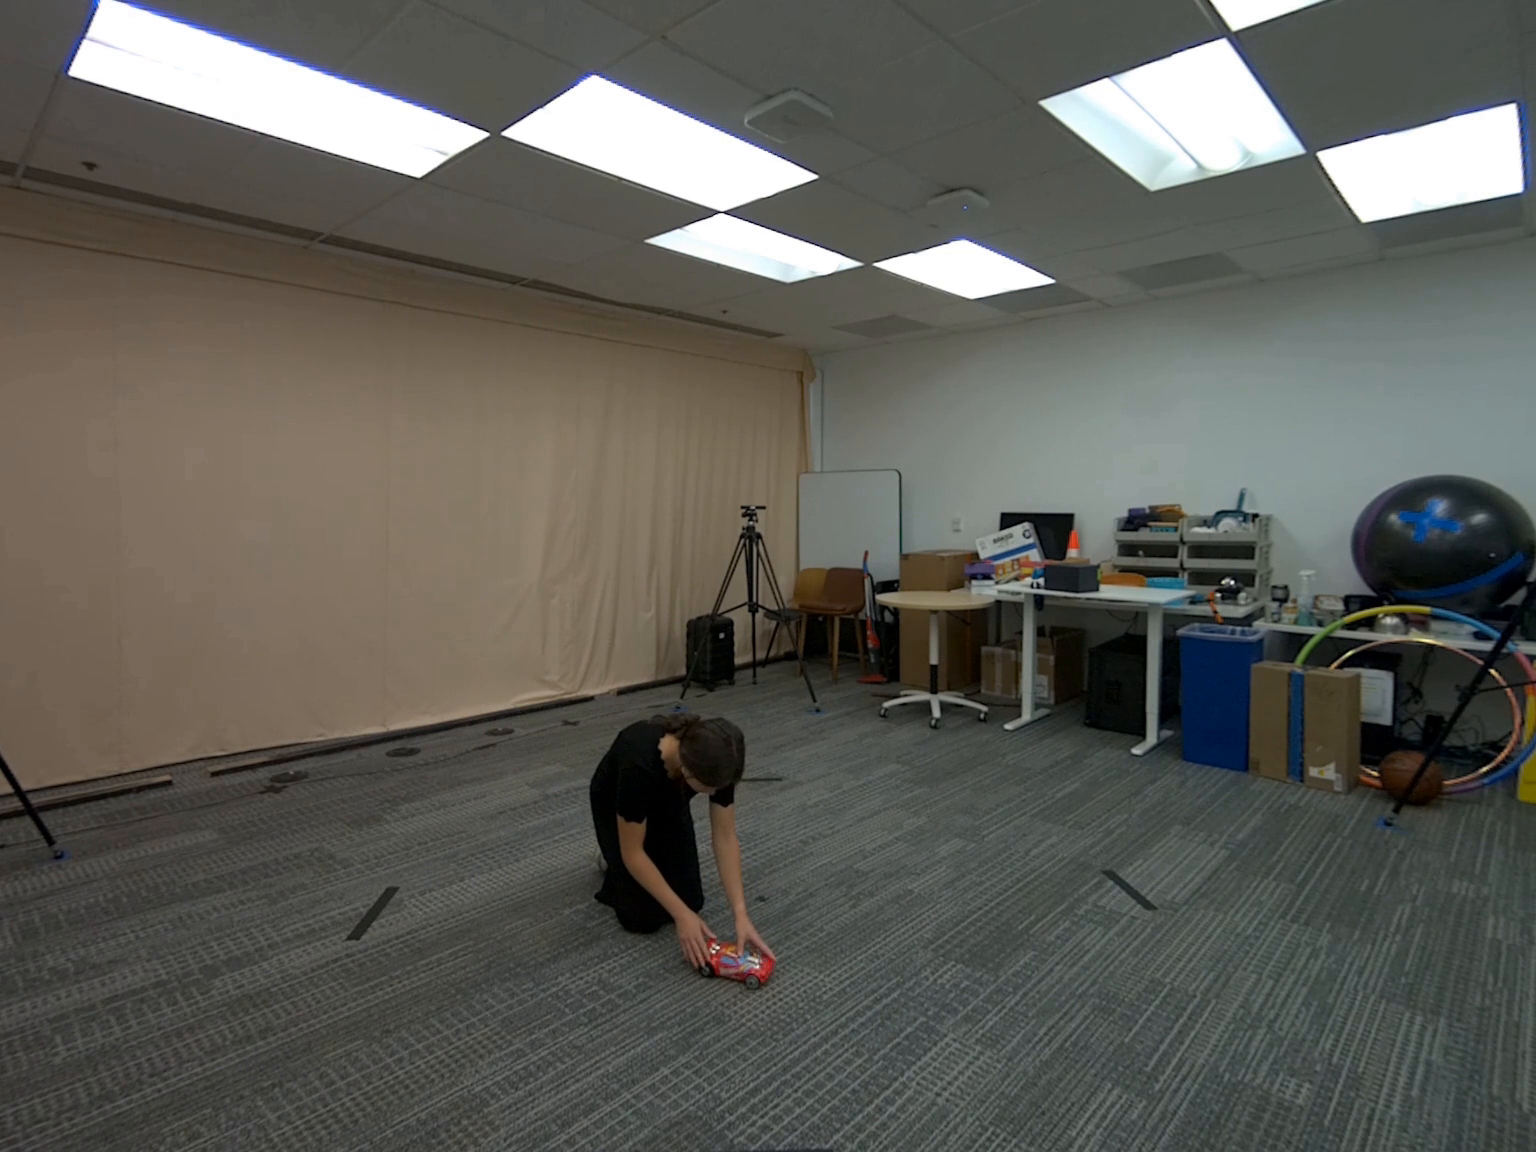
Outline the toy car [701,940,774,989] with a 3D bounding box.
[{"bbox_3d":[-0.111,1.157,2.507,0.261,0.083,0.127,13,11,22],"label":"toy car"}]
